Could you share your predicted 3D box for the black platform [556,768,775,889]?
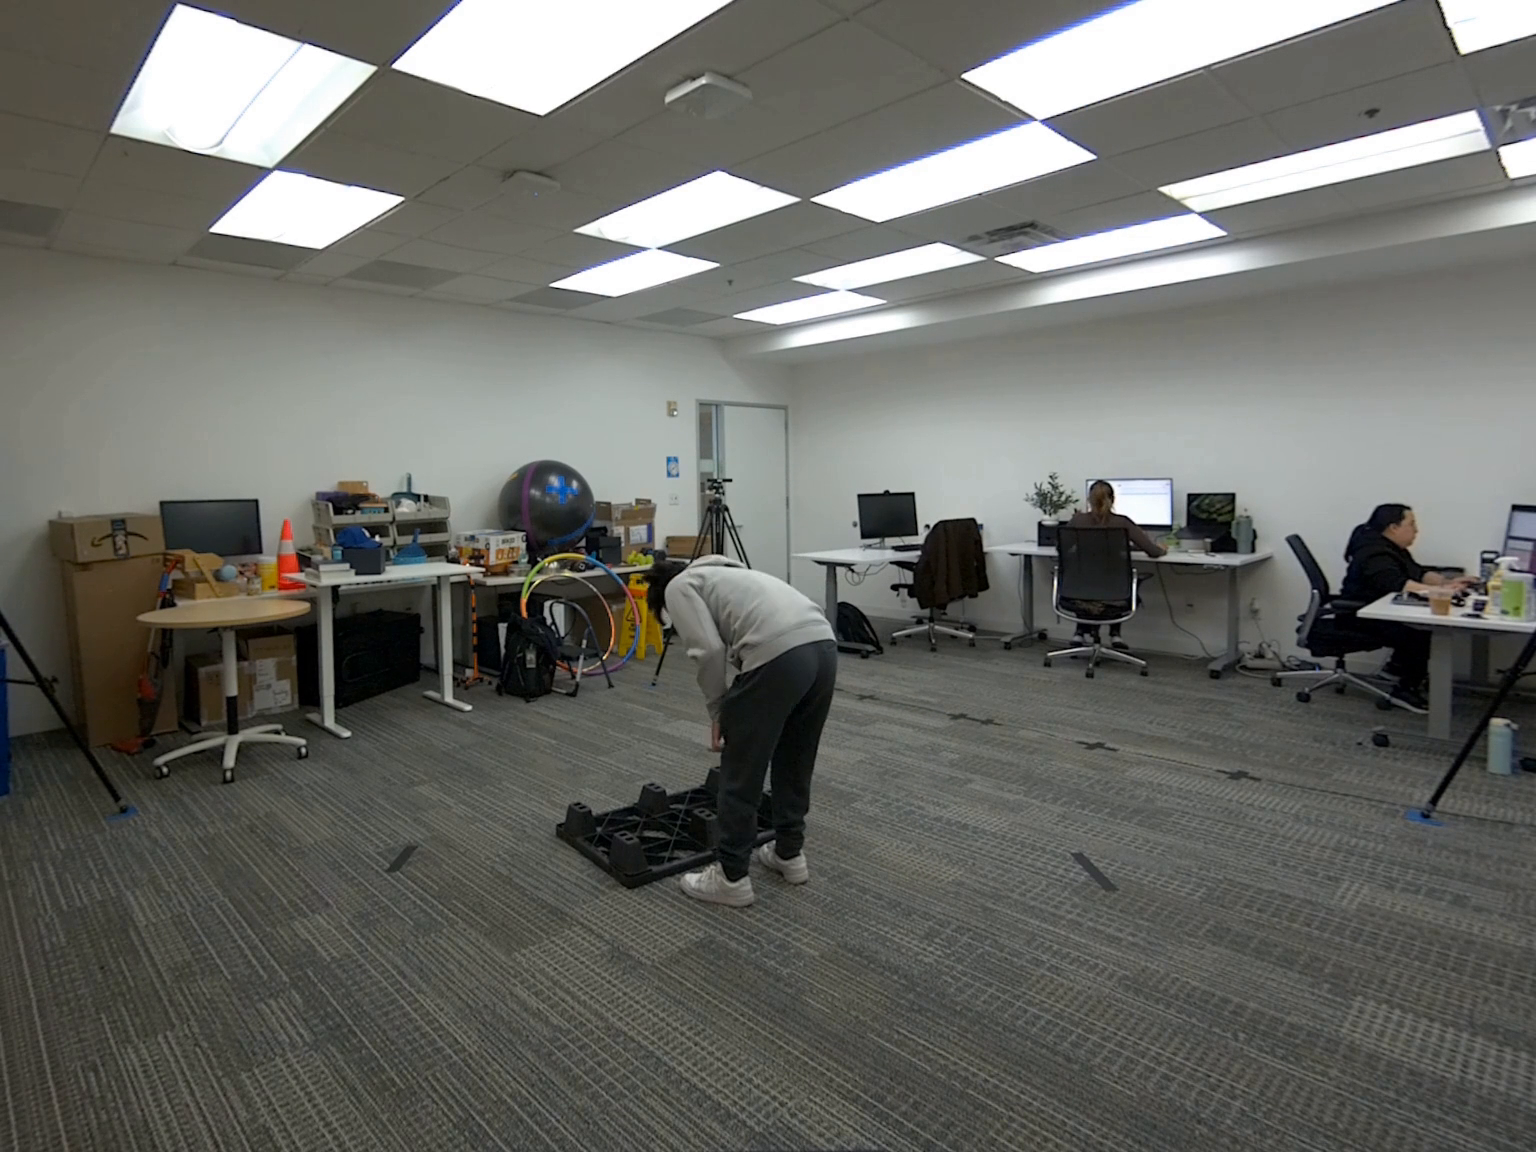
[{"bbox_3d":[-0.354,0.954,3.395,0.785,0.143,0.624,-5,8,-38],"label":"black platform"}]
